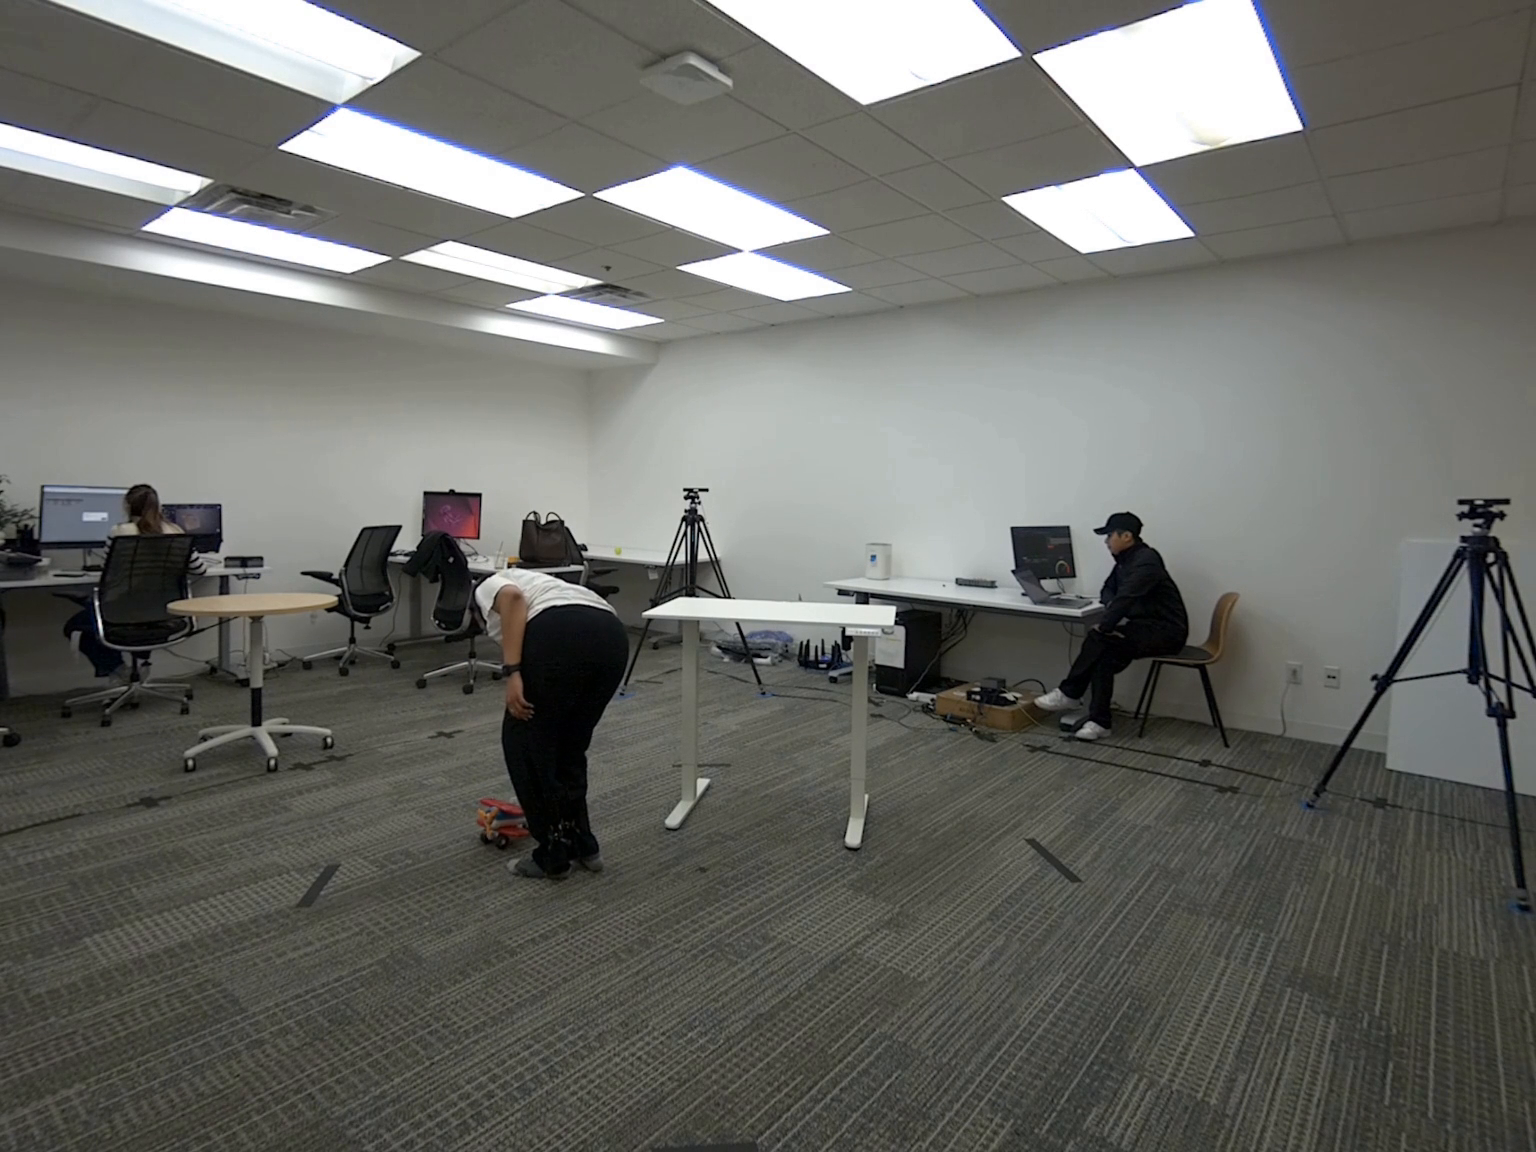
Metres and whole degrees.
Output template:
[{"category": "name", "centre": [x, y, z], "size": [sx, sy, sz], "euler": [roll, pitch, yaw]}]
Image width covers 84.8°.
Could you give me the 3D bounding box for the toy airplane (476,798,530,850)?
[{"category": "toy airplane", "centre": [-1.043, 0.954, 3.353], "size": [0.253, 0.155, 0.259], "euler": [-1, 6, 5]}]
